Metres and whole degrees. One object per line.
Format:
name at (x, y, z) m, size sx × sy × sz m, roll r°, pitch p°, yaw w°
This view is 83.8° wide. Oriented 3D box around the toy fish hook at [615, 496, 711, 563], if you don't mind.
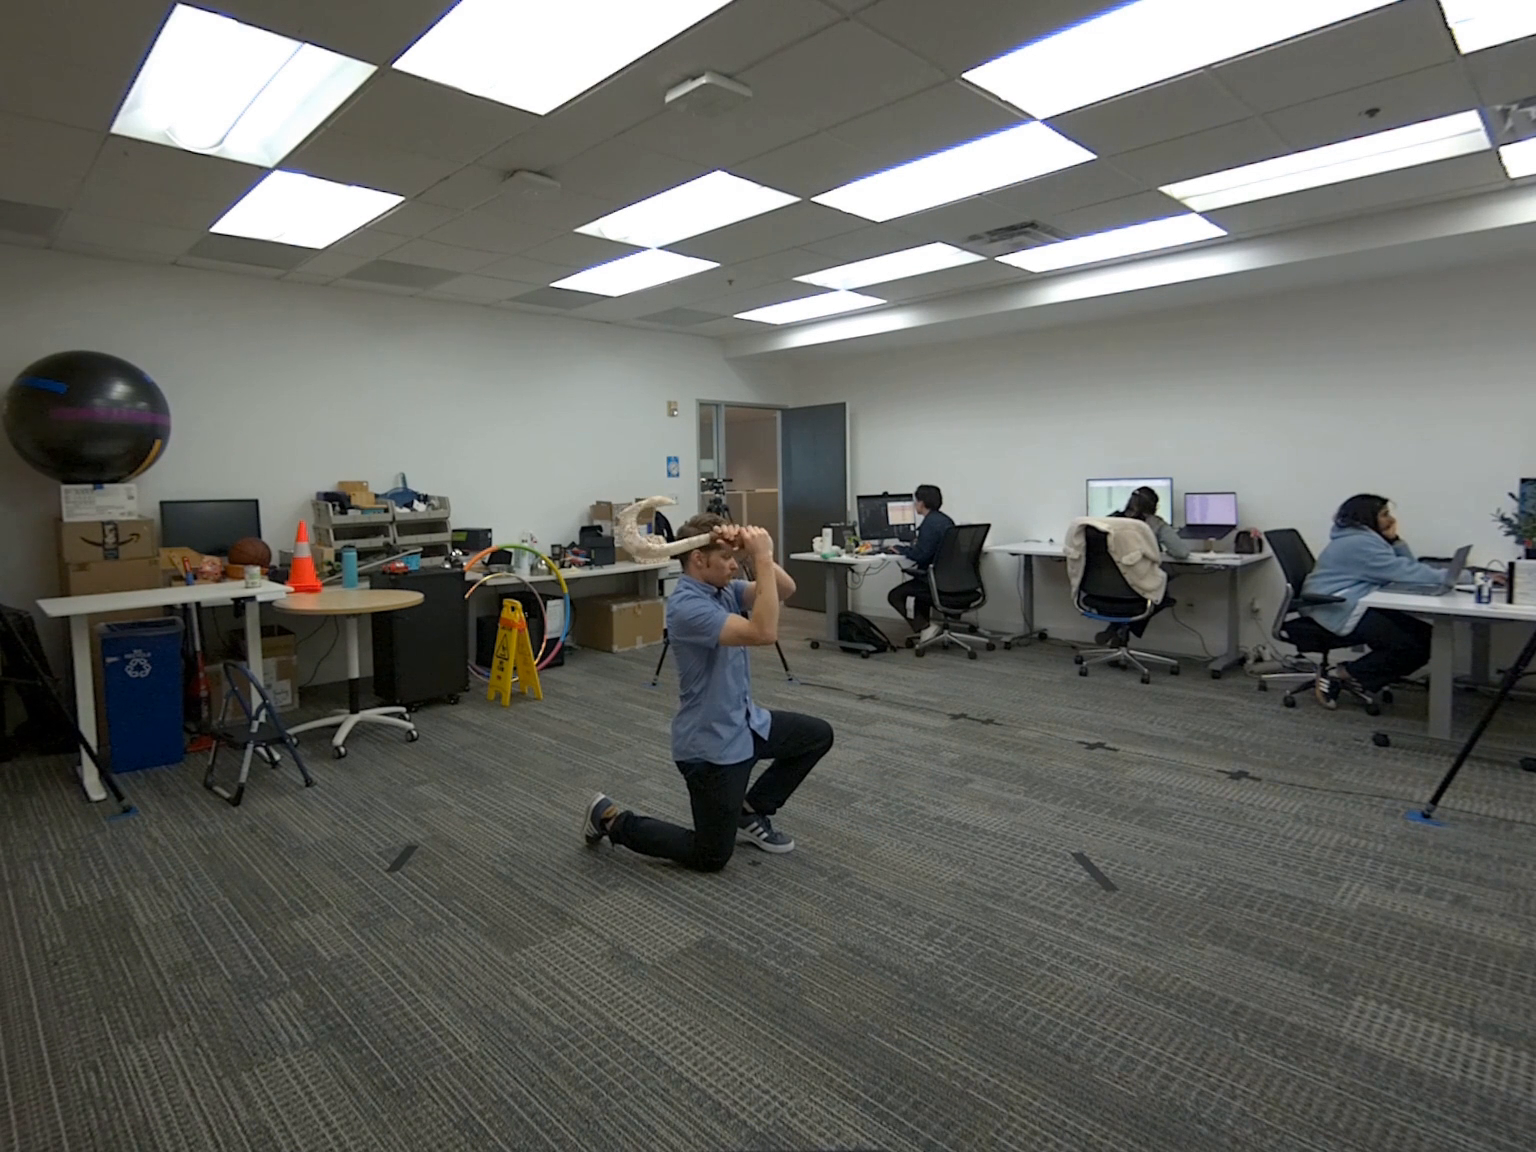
toy fish hook at (-0.241, -0.189, 2.890) m, size 0.505 × 0.227 × 0.048 m, roll -2°, pitch -11°, yaw -3°
